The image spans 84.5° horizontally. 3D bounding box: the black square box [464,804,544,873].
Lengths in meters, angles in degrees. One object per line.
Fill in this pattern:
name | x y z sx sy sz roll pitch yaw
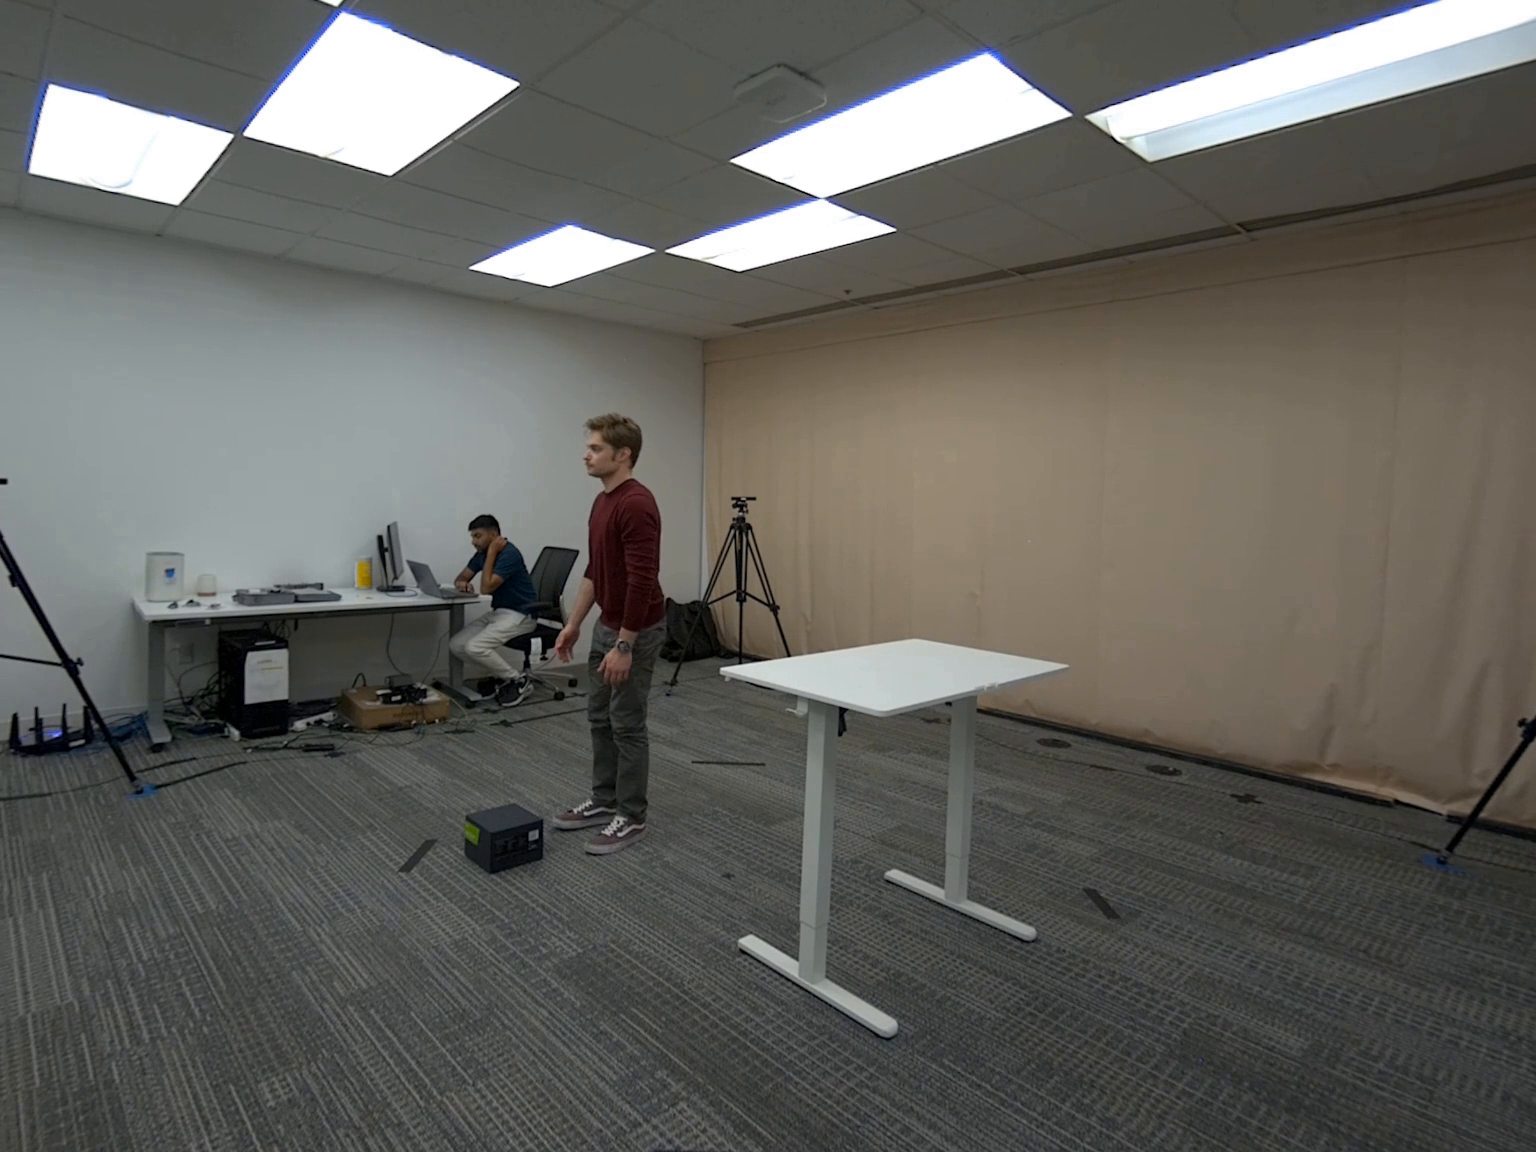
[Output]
black square box | -1.017 0.997 3.215 0.212 0.155 0.234 -3 6 -43
